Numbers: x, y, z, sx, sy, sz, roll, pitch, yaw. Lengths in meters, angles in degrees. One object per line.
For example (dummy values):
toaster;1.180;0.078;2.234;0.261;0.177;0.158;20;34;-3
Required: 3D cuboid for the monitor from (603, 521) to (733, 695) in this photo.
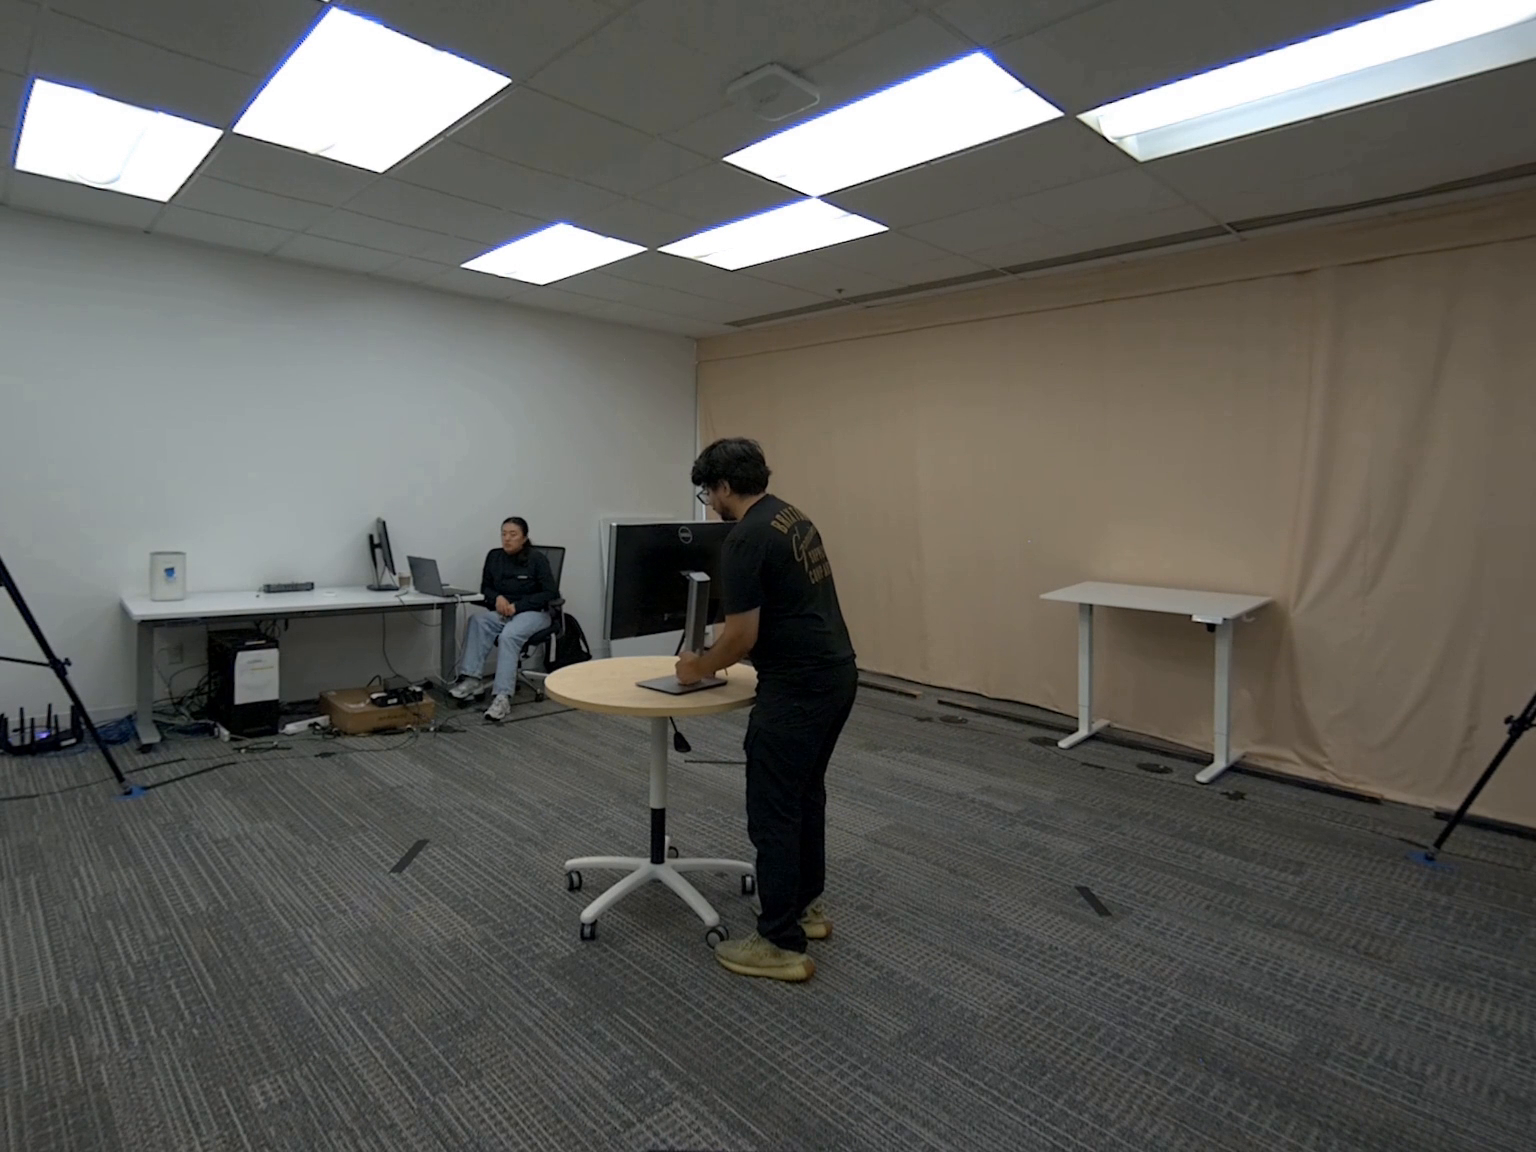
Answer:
monitor;-0.257;0.097;2.719;0.215;0.552;0.553;6;6;42
